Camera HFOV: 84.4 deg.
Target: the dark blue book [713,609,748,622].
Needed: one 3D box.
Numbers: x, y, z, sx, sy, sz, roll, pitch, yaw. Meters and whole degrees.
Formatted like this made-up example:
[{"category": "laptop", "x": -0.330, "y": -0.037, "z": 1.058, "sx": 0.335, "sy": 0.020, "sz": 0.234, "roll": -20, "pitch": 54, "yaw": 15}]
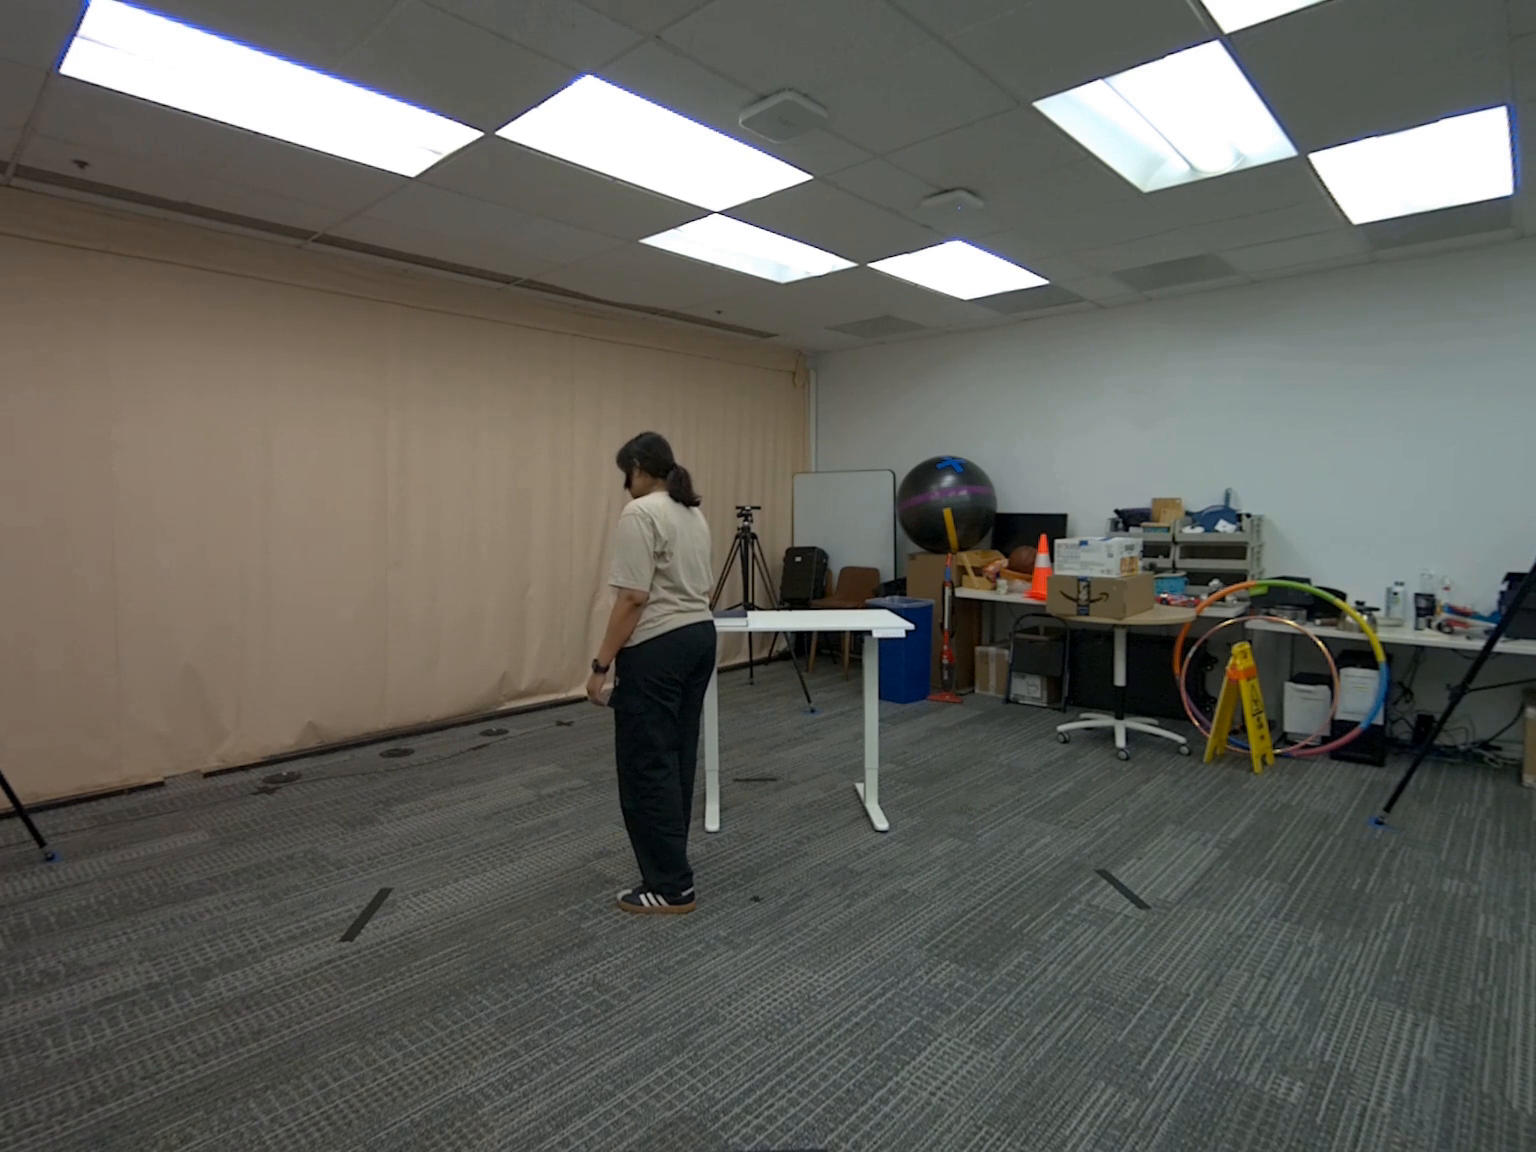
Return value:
[{"category": "dark blue book", "x": -0.170, "y": 0.184, "z": 3.711, "sx": 0.163, "sy": 0.045, "sz": 0.246, "roll": 0, "pitch": 5, "yaw": -1}]
